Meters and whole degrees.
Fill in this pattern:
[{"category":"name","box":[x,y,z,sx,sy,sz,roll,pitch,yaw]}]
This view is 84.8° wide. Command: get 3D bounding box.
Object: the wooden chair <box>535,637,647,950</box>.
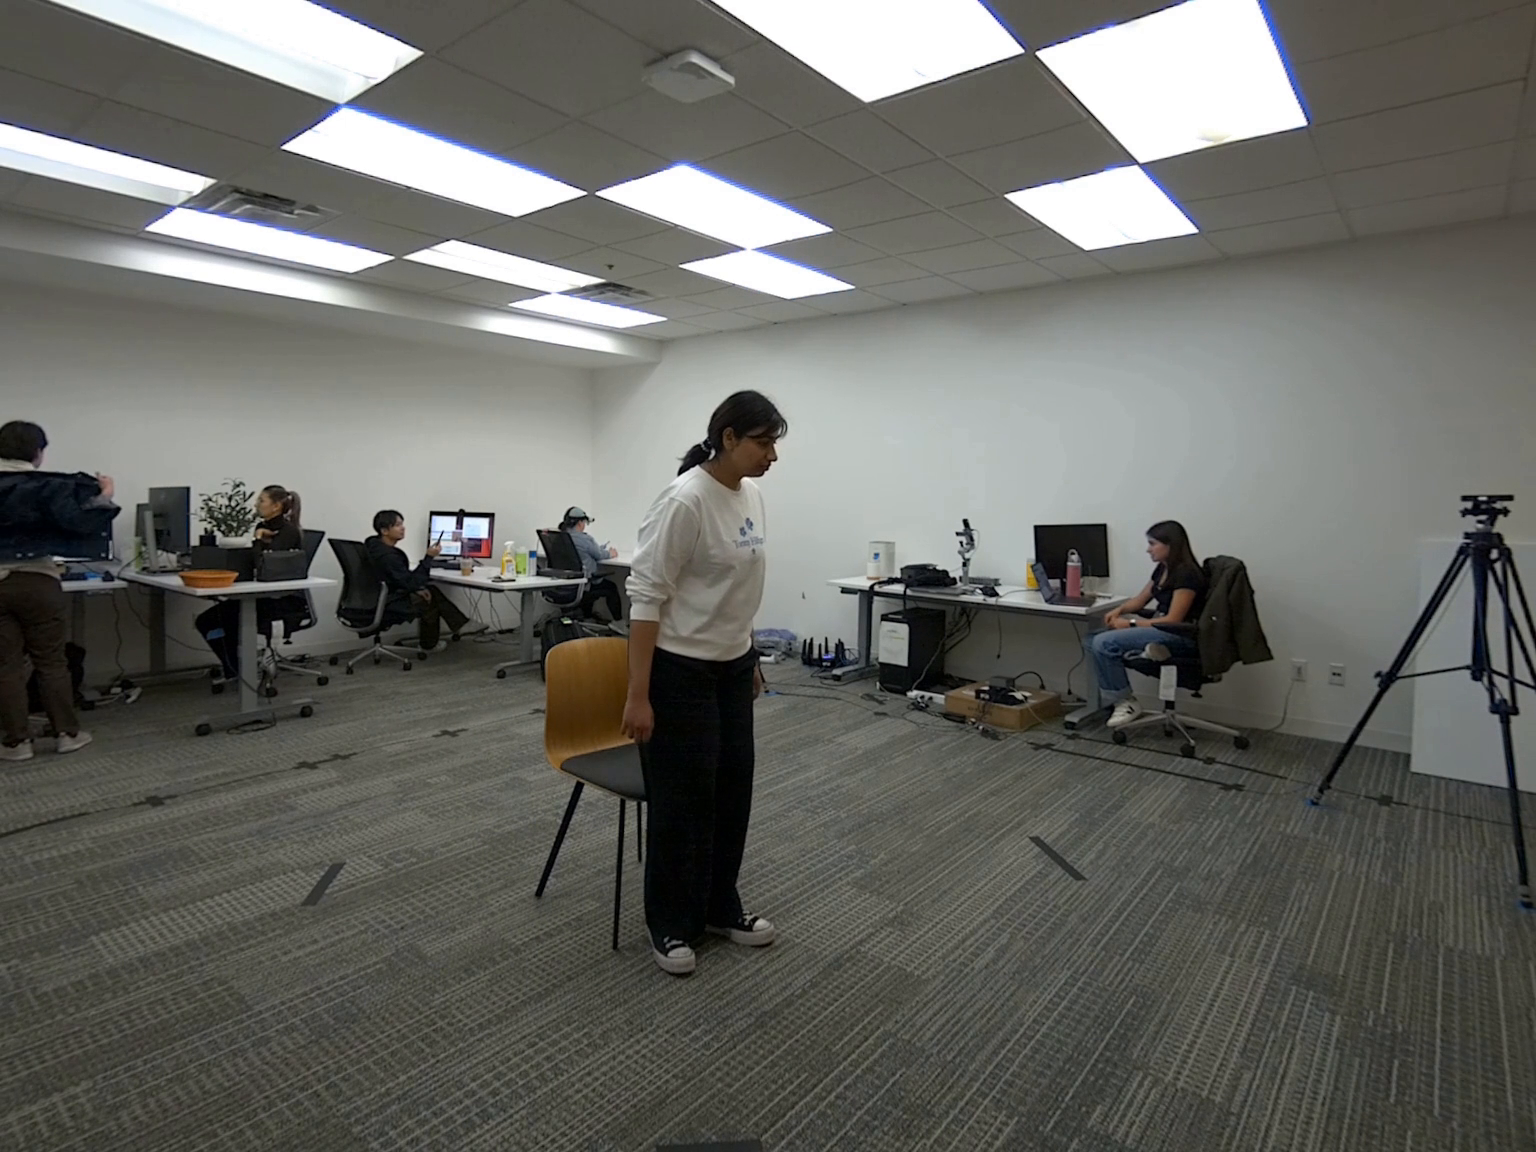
[{"category":"wooden chair","box":[-0.460,0.662,2.833,0.539,0.878,0.463,-1,0,45]}]
